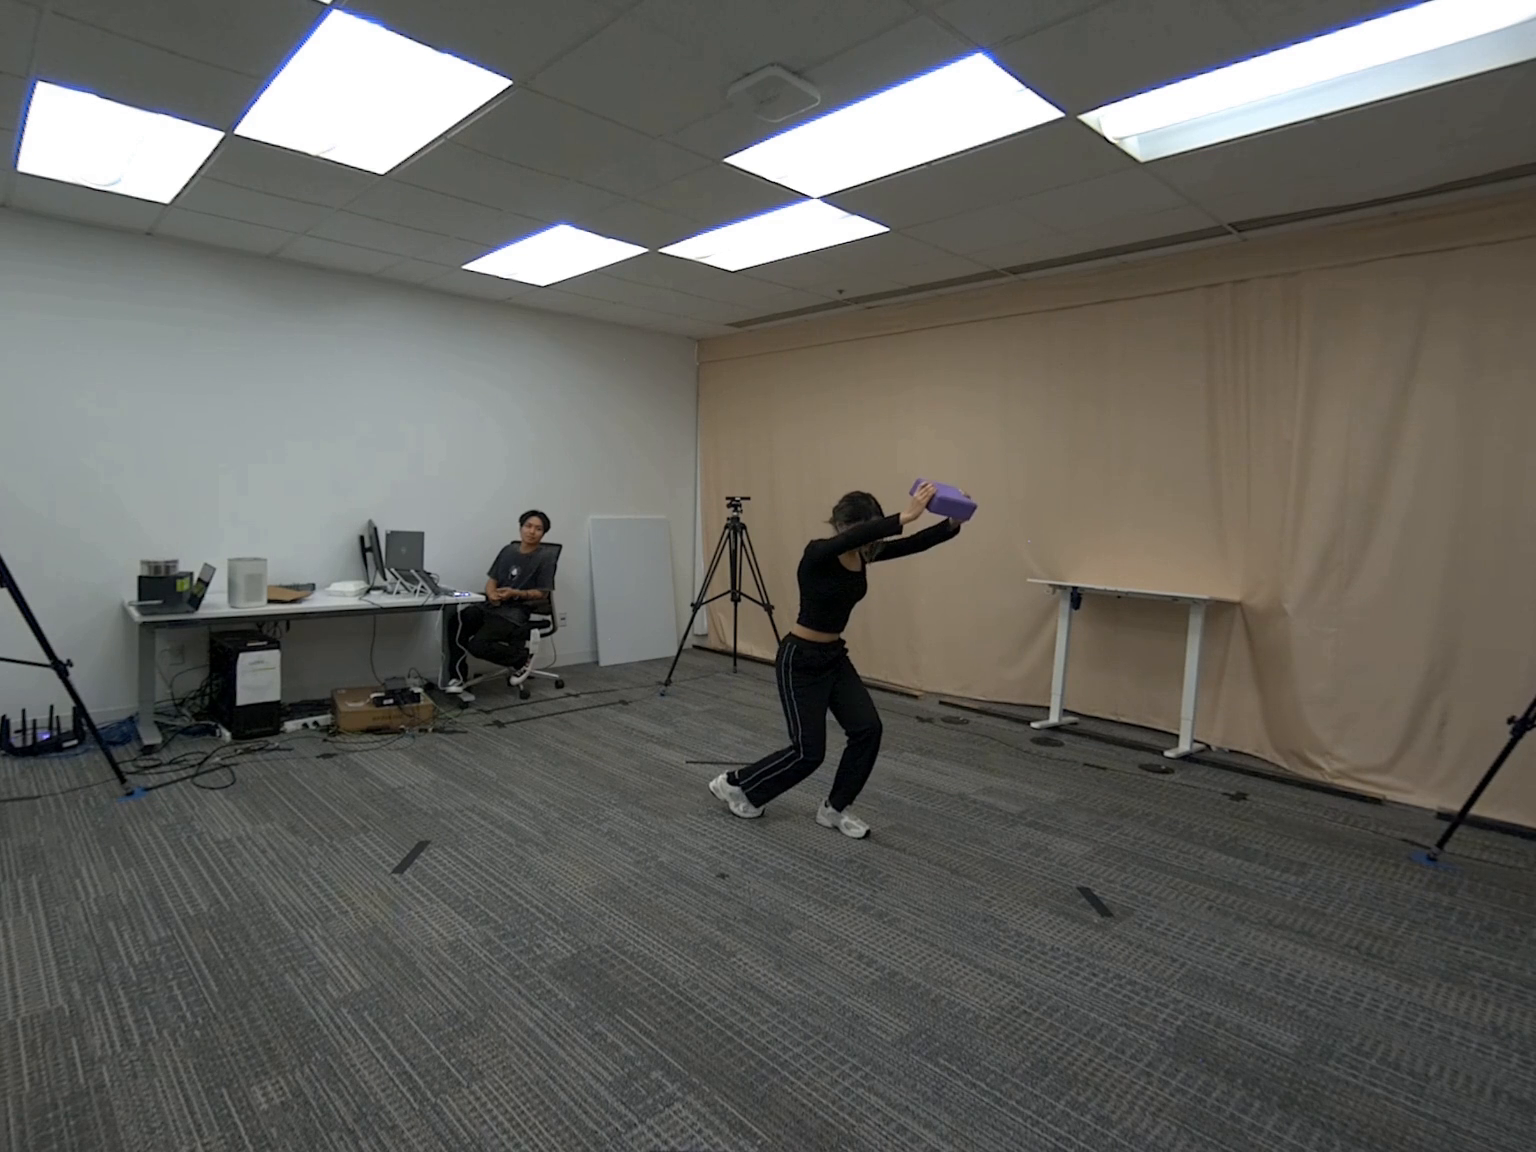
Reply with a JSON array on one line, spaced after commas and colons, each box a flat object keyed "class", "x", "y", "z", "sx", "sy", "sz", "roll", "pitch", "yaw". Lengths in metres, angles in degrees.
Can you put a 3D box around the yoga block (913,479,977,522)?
[{"class": "yoga block", "x": 0.660, "y": -0.278, "z": 3.197, "sx": 0.223, "sy": 0.076, "sz": 0.154, "roll": 9, "pitch": 30, "yaw": -38}]
